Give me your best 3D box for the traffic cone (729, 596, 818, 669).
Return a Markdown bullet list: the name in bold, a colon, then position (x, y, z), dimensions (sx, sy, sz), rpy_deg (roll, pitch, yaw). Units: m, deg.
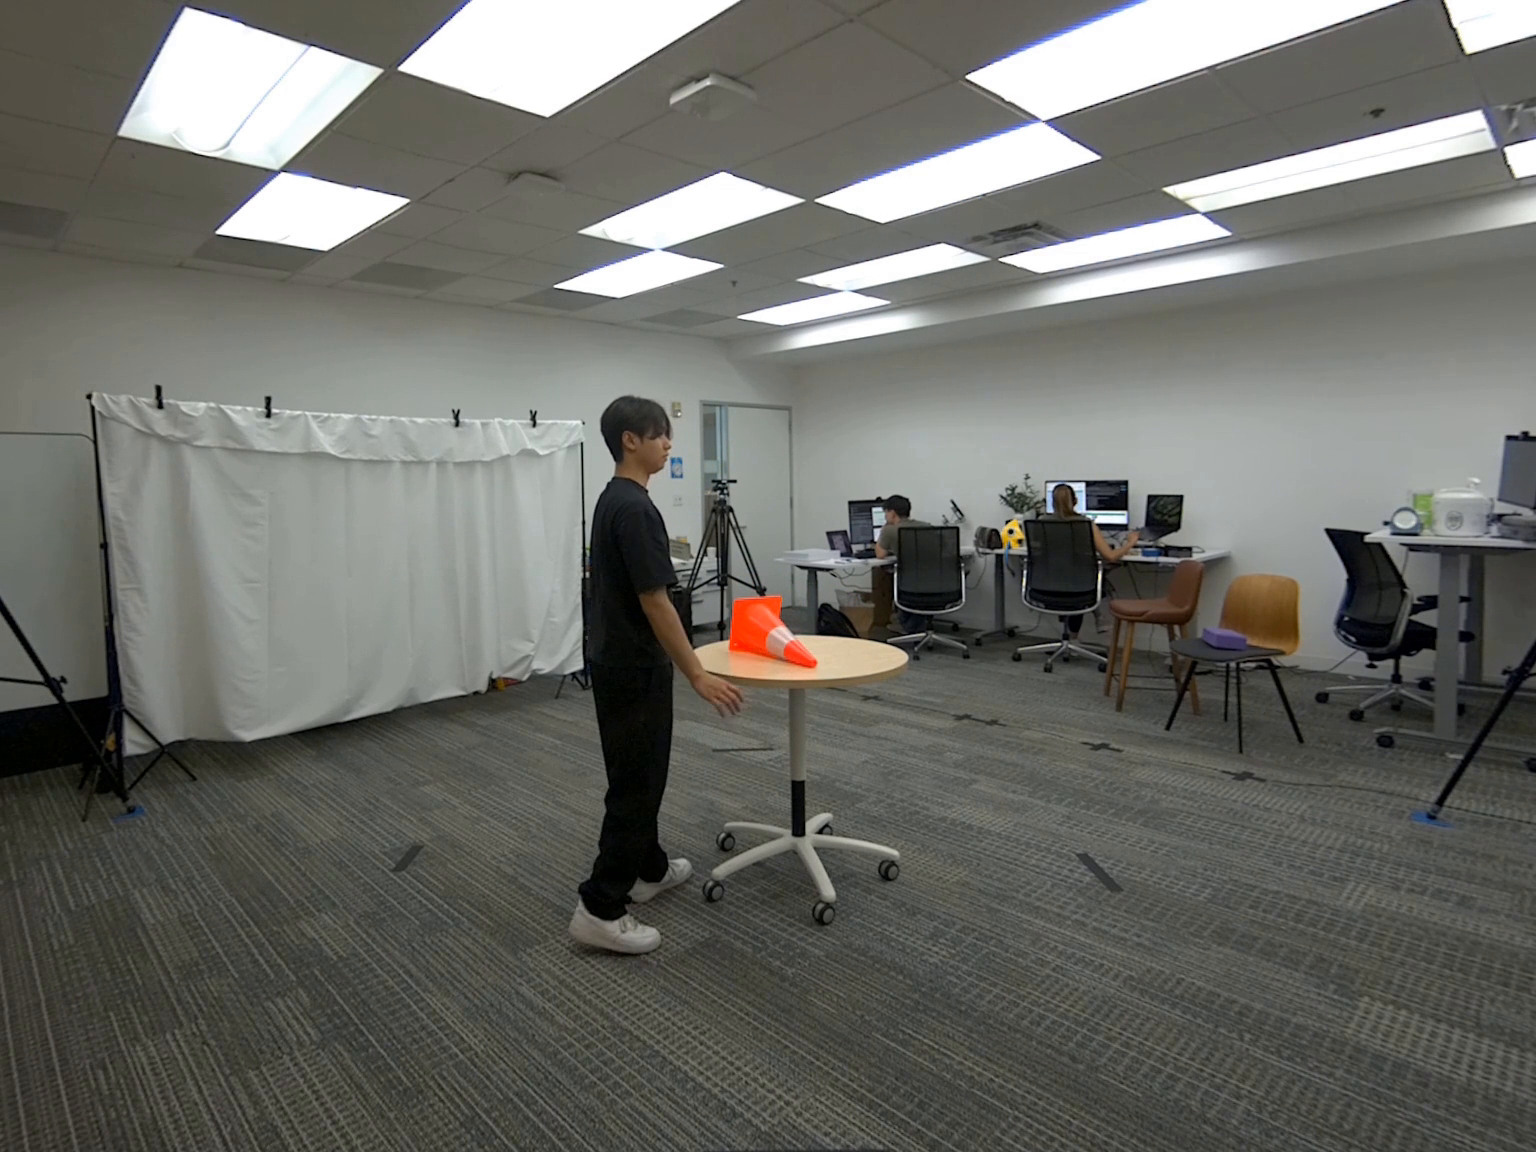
- **traffic cone**: position (0.052, 0.228, 2.924), dimensions (0.198, 0.202, 0.397), rpy_deg (-4, 18, -31)
